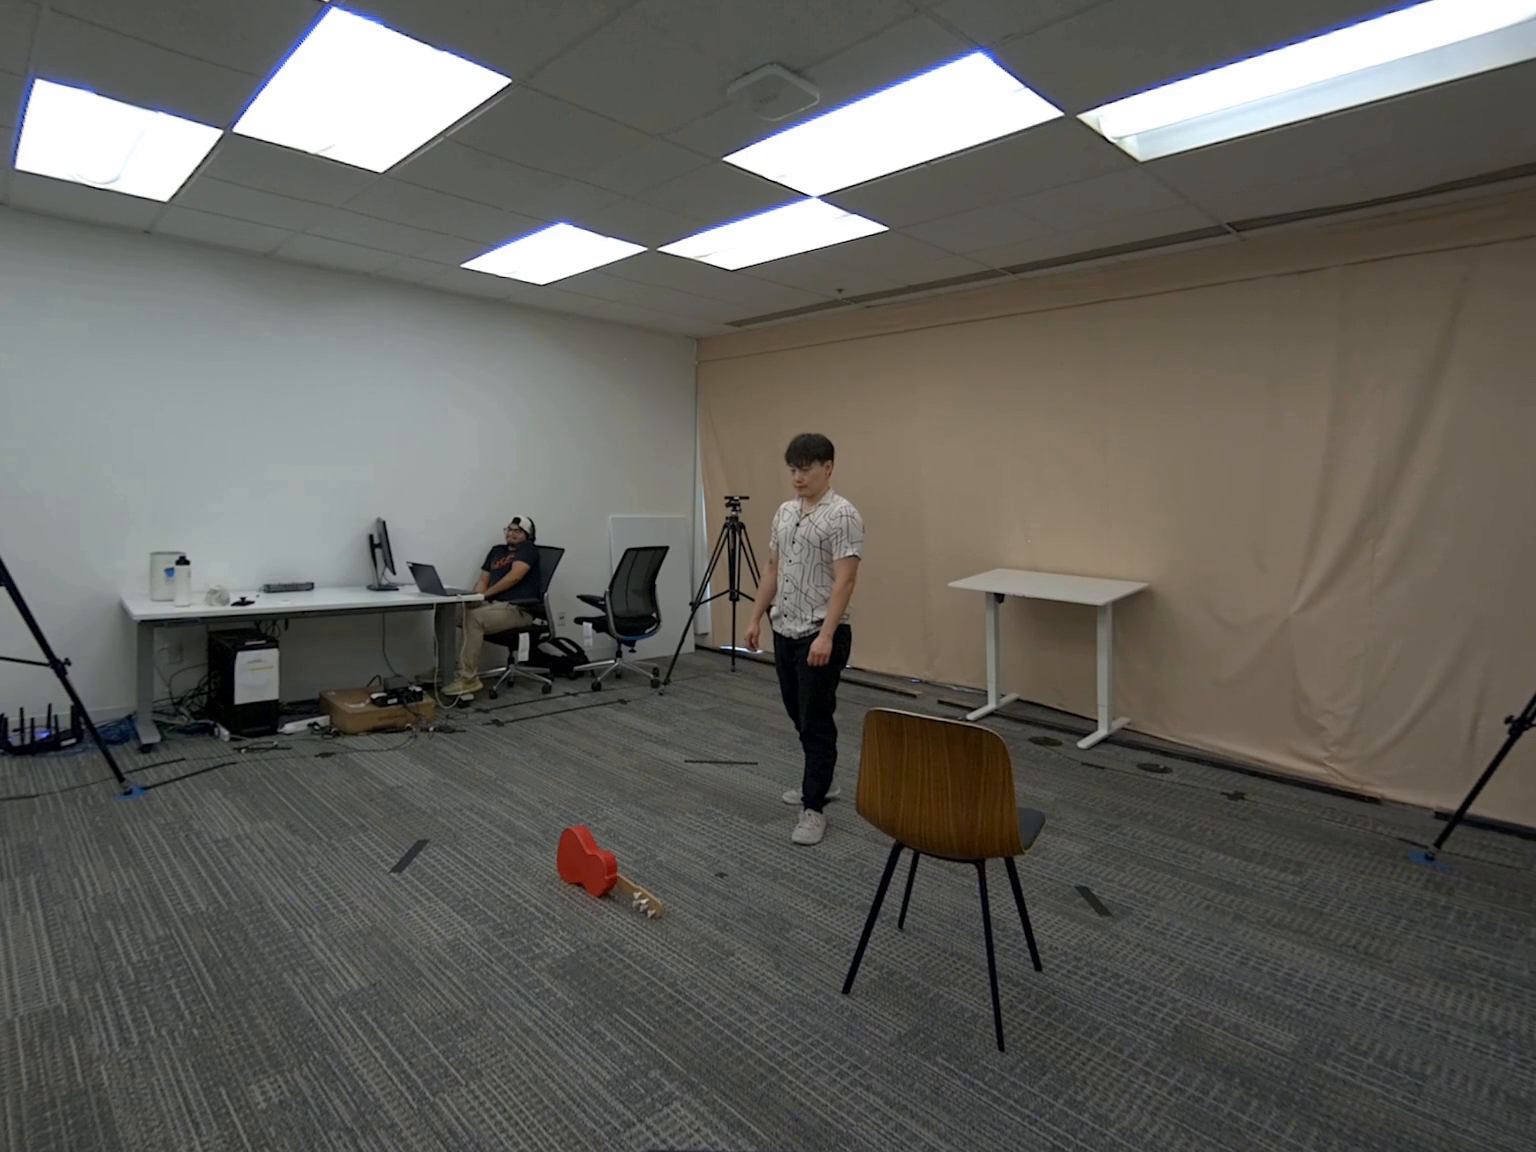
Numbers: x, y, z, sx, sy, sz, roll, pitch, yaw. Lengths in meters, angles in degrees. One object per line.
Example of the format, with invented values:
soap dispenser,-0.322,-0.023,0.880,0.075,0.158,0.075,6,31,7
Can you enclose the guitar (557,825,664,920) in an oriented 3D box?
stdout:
guitar,-0.557,1.021,2.911,0.510,0.193,0.069,6,1,40
